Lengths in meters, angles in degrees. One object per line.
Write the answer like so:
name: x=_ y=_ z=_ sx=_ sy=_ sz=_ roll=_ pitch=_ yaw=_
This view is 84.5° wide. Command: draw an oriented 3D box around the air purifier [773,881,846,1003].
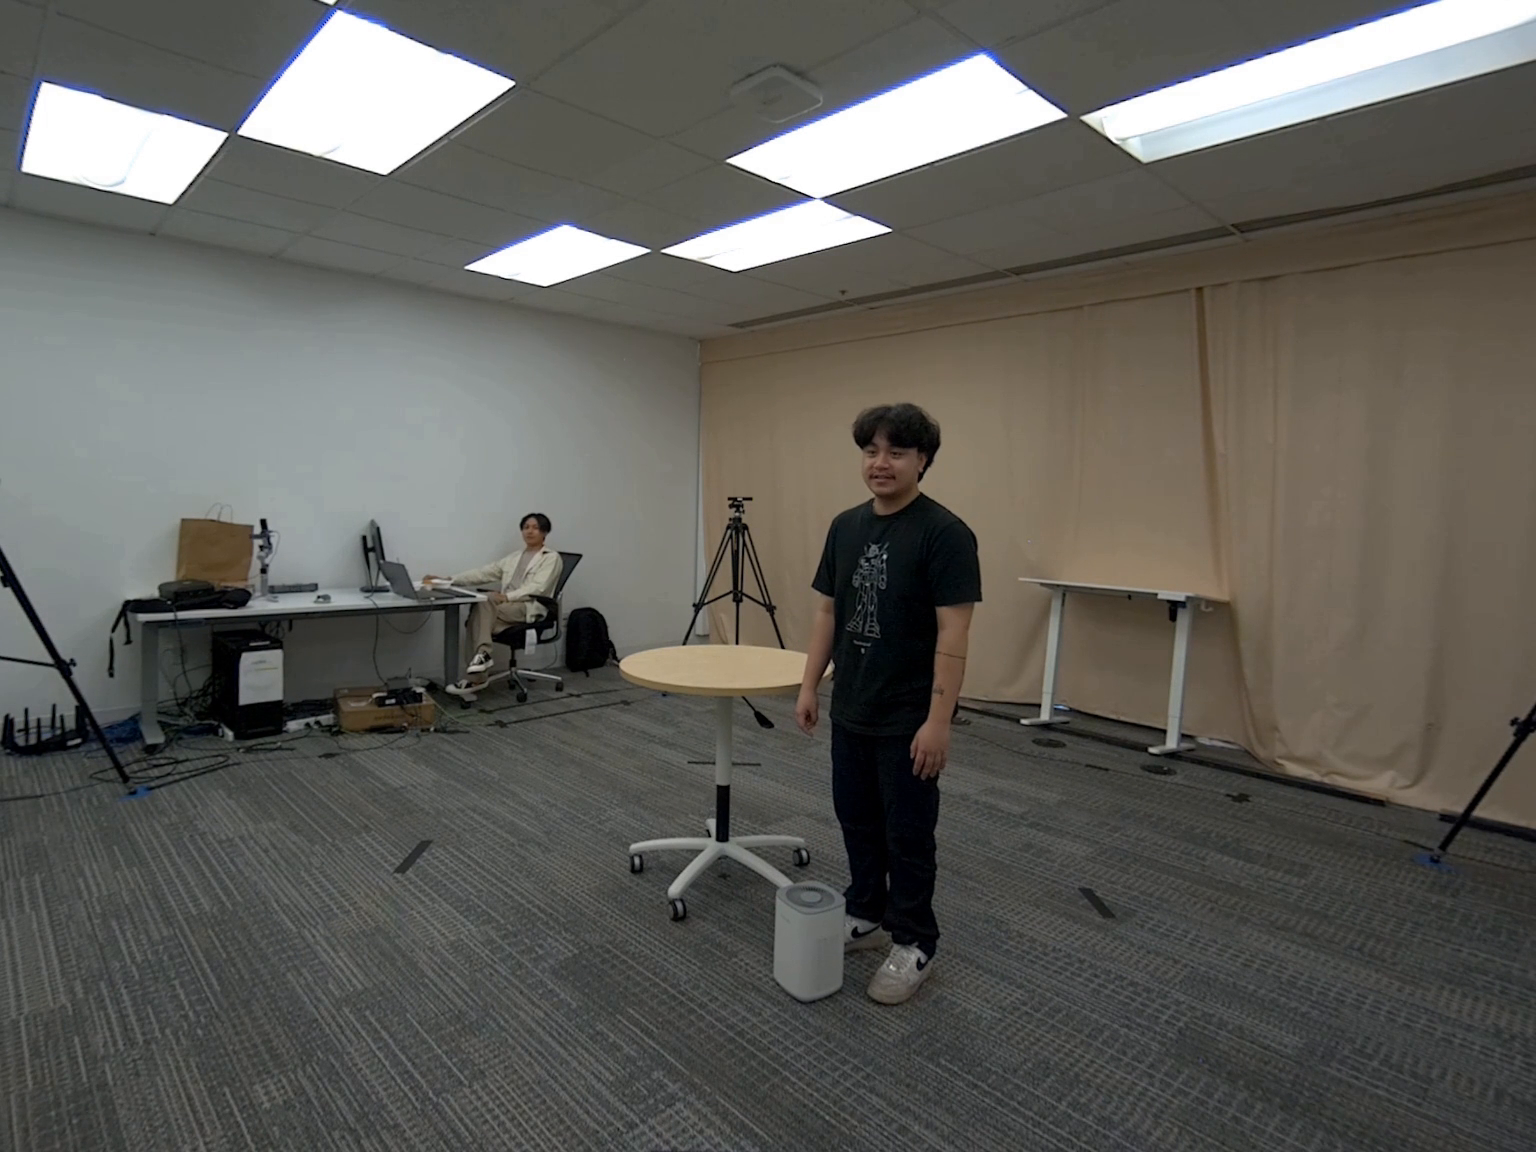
air purifier: x=0.111 y=1.047 z=2.403 sx=0.168 sy=0.265 sz=0.175 roll=-3 pitch=4 yaw=-34
